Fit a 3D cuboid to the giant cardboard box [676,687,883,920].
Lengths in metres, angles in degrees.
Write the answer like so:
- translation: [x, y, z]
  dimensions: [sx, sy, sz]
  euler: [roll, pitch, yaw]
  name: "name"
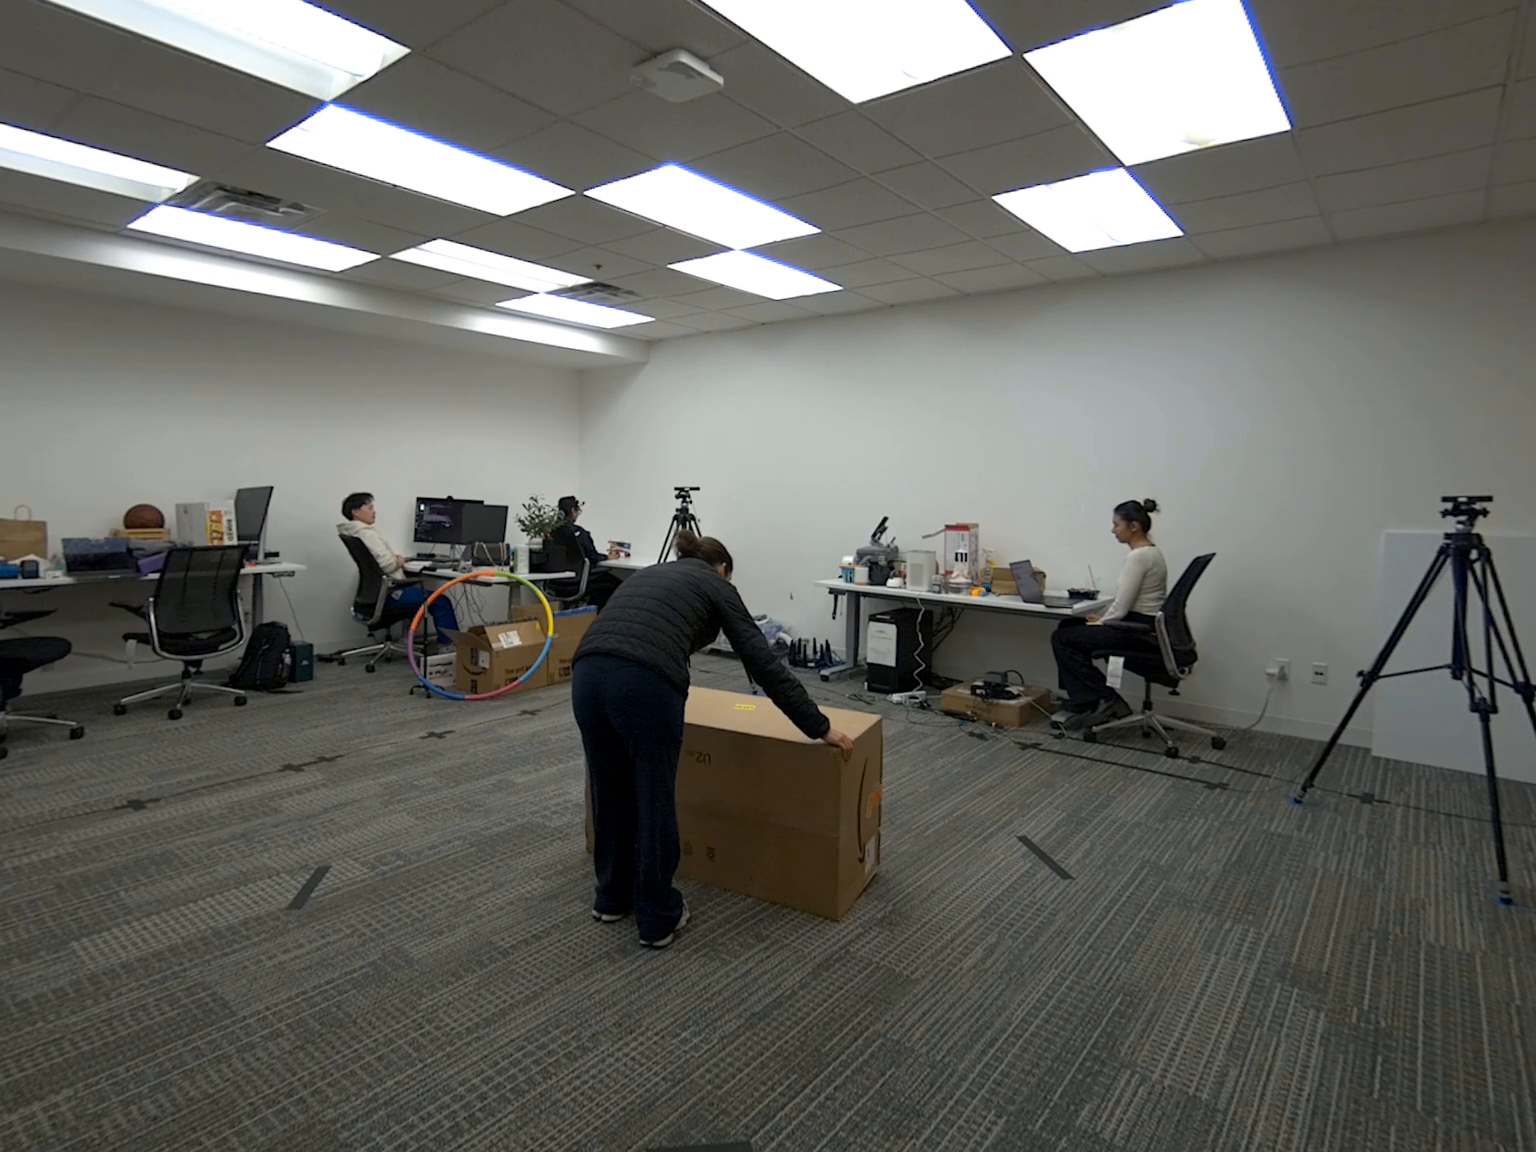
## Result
- translation: [-0.120, 0.771, 3.156]
  dimensions: [1.056, 0.581, 0.436]
  euler: [4, 6, 29]
  name: "giant cardboard box"
